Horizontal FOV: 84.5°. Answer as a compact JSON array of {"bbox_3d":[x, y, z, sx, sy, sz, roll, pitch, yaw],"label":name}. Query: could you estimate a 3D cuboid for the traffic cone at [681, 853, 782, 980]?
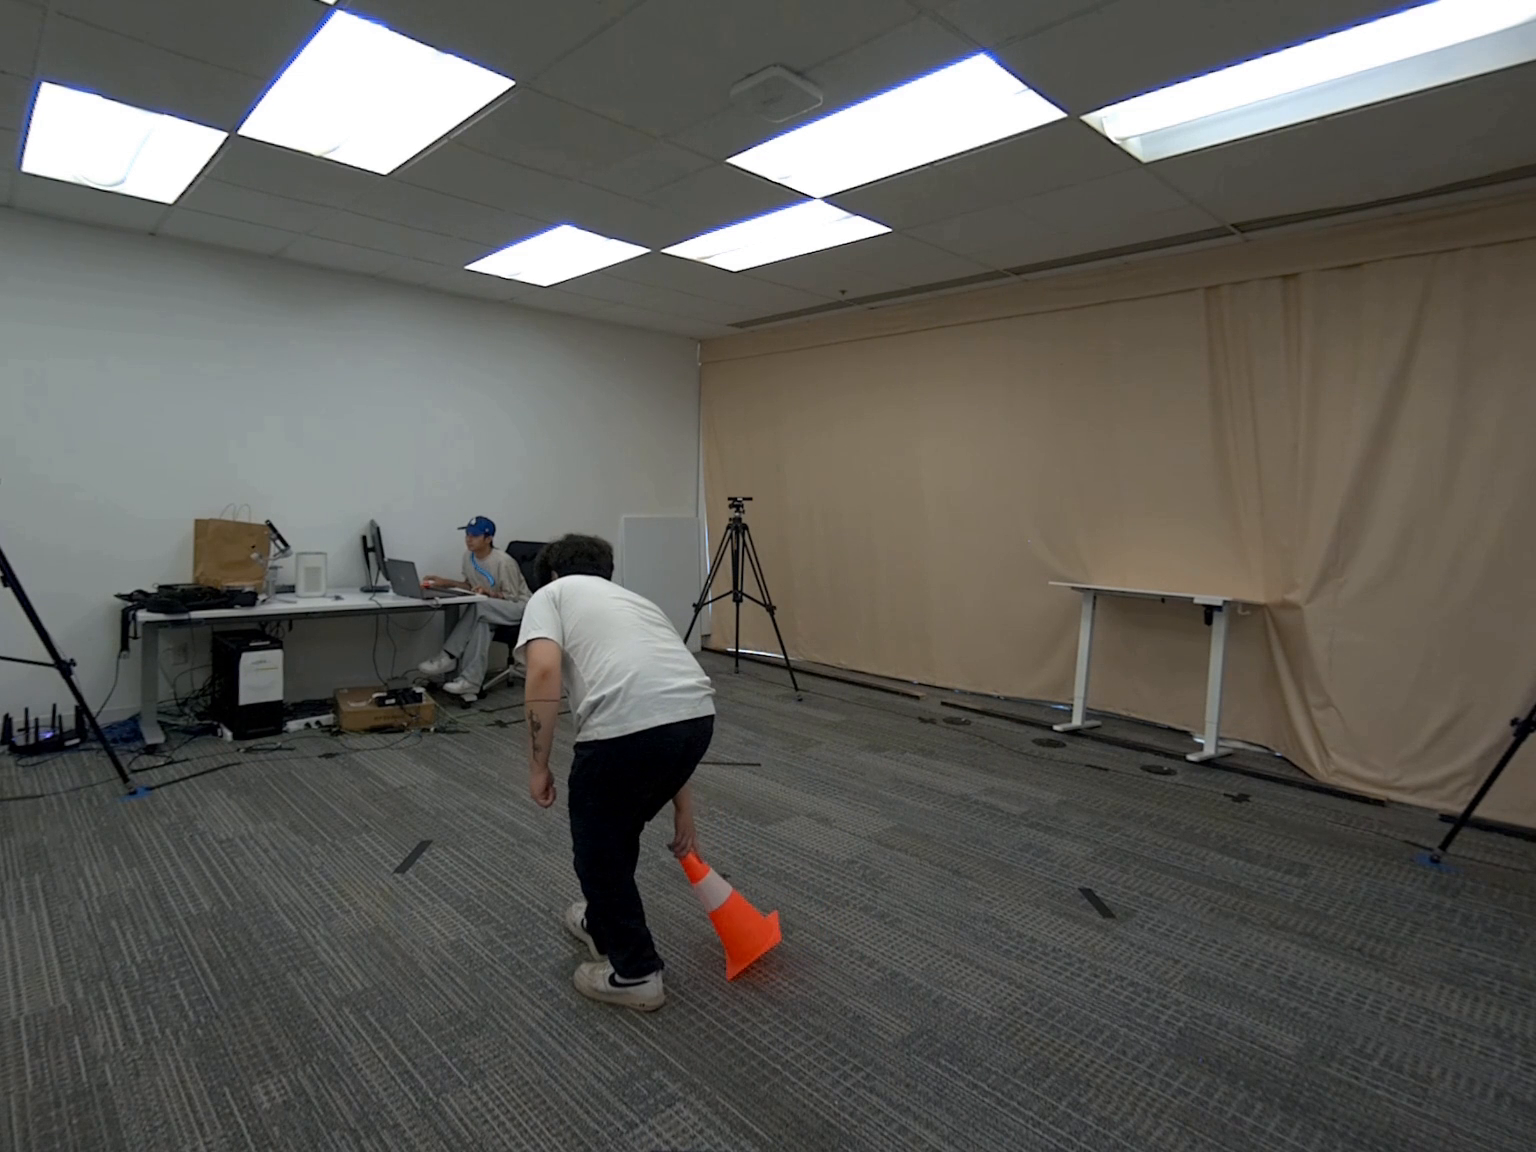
[{"bbox_3d":[-0.169,0.956,2.513,0.203,0.383,0.205,-36,1,-1],"label":"traffic cone"}]
